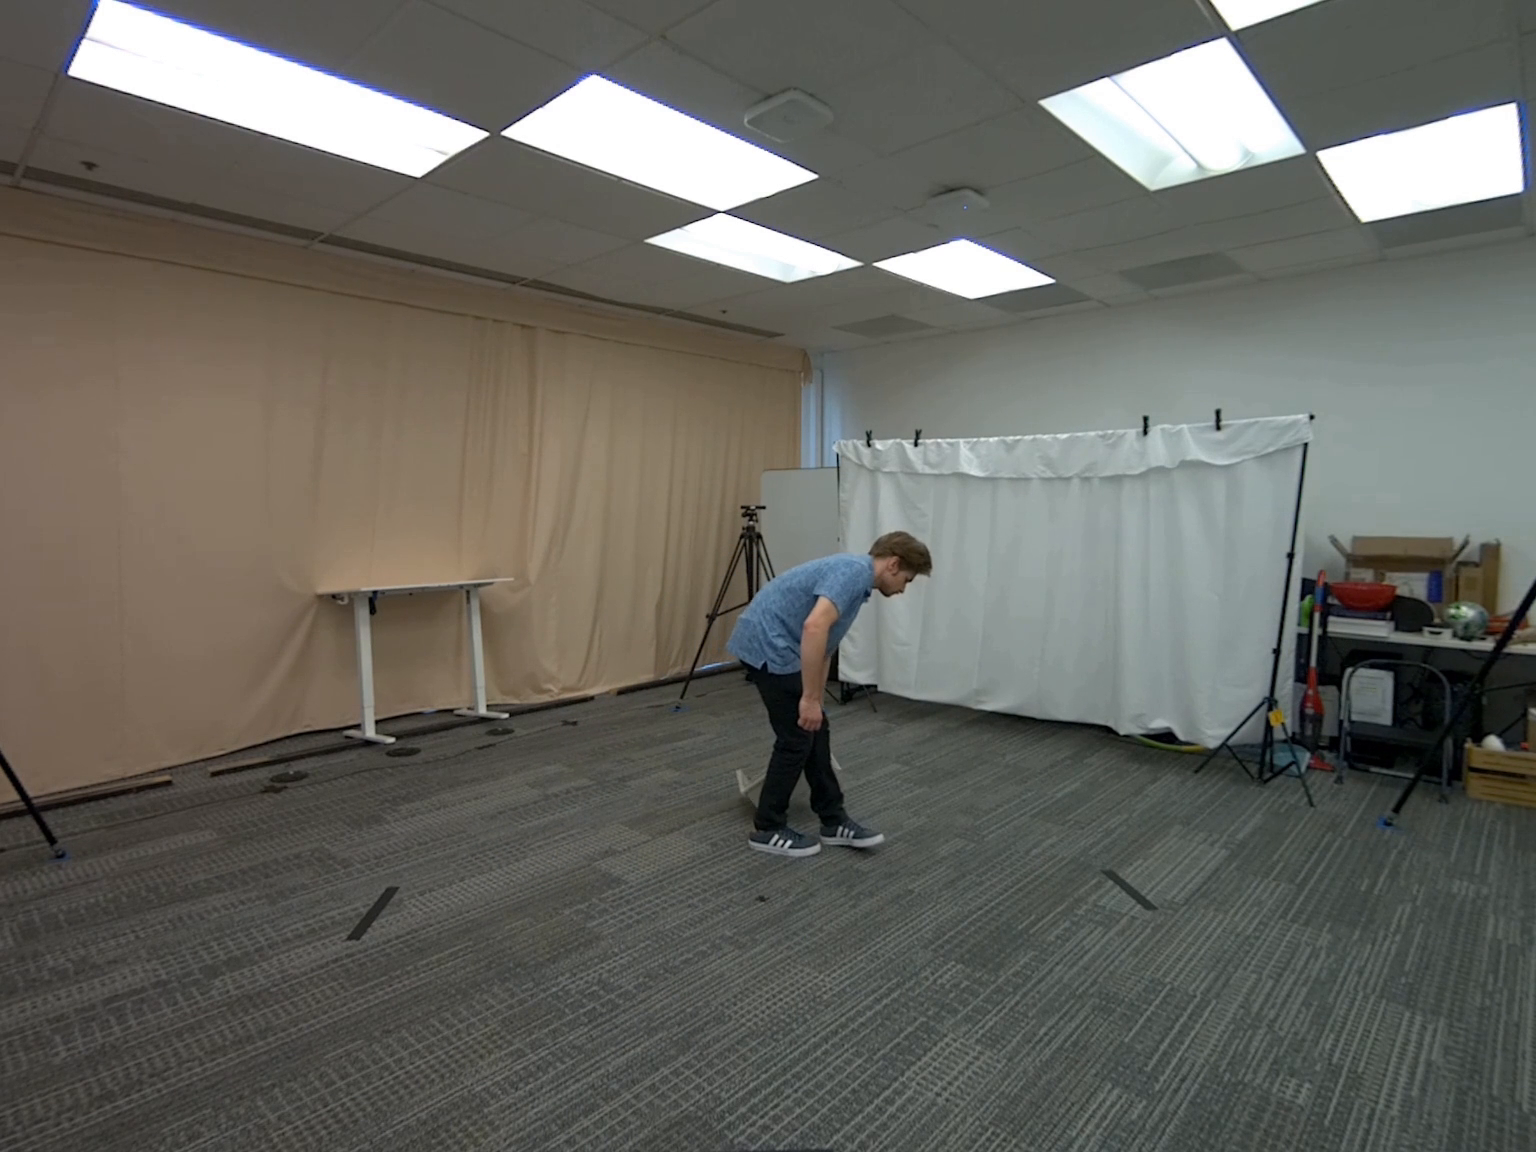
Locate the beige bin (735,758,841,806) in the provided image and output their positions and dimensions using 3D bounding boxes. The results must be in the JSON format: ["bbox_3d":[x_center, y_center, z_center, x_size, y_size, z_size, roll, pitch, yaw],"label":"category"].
[{"bbox_3d":[0.083,0.882,3.855,0.422,0.188,0.380,-34,7,-2],"label":"beige bin"}]
